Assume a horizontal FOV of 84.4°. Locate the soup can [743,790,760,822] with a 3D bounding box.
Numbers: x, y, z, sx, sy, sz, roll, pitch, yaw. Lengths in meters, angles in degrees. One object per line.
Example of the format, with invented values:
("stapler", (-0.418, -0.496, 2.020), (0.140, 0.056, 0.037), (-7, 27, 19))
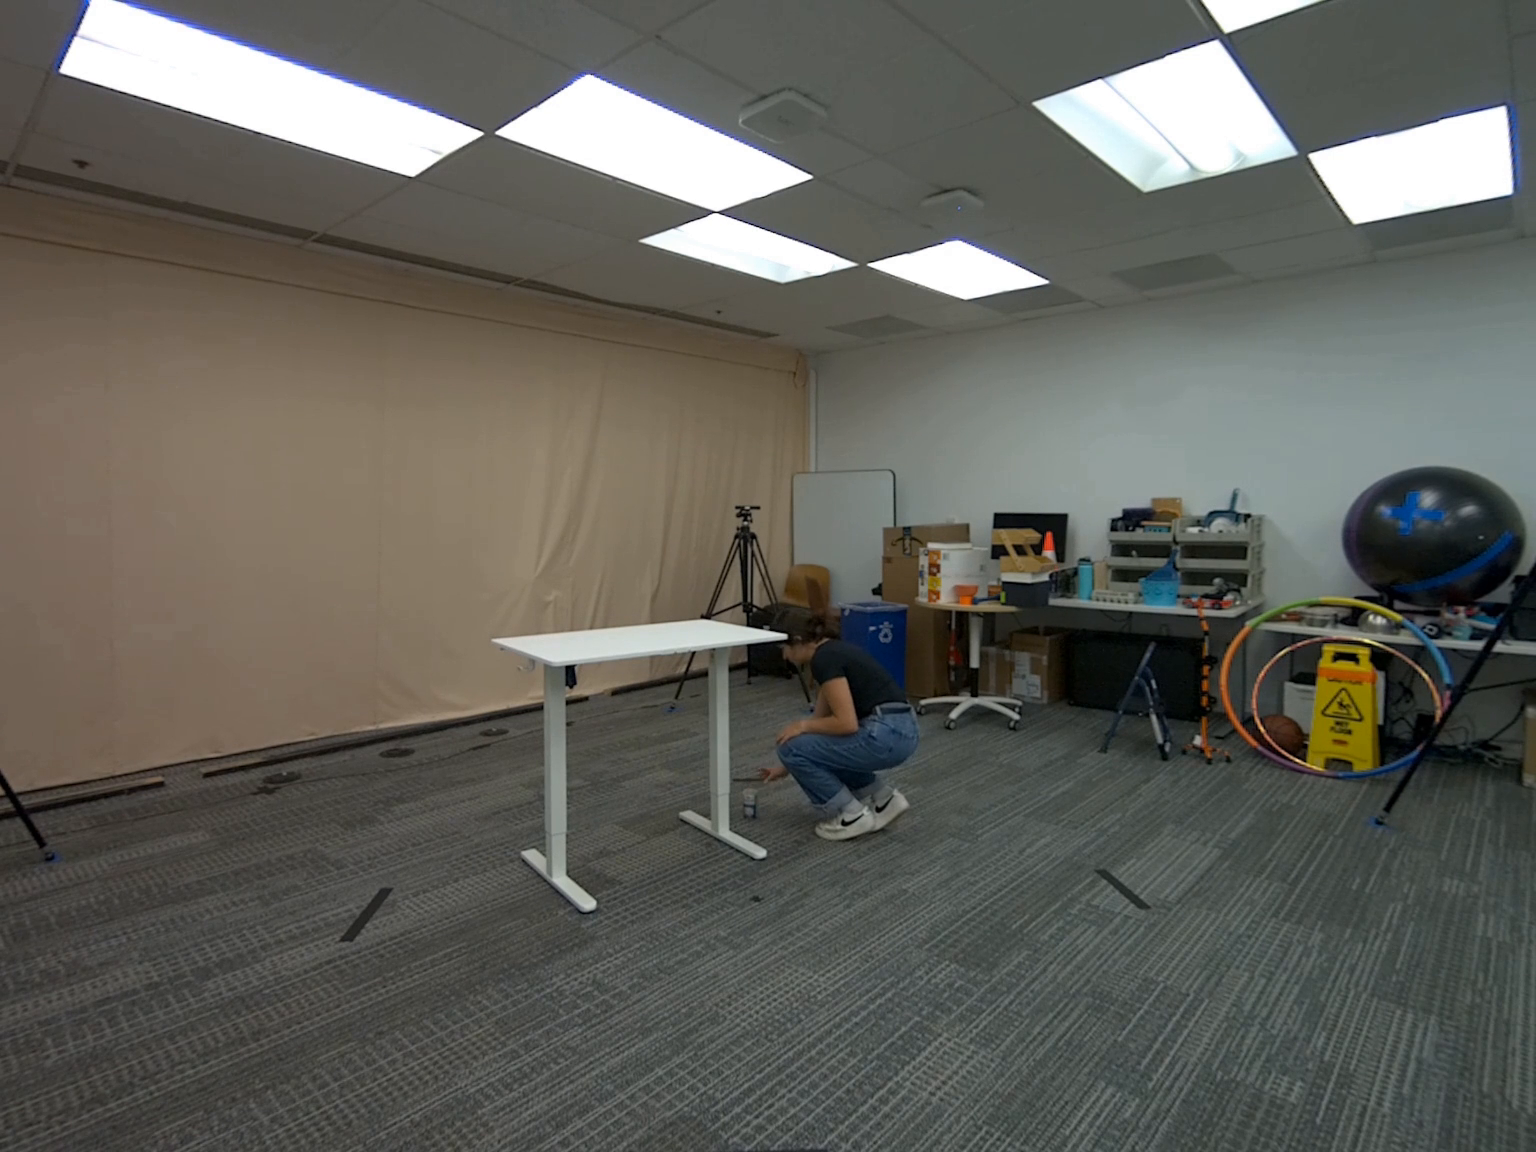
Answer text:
("soup can", (-0.075, 1.022, 3.774), (0.067, 0.121, 0.067), (0, -1, -2))
